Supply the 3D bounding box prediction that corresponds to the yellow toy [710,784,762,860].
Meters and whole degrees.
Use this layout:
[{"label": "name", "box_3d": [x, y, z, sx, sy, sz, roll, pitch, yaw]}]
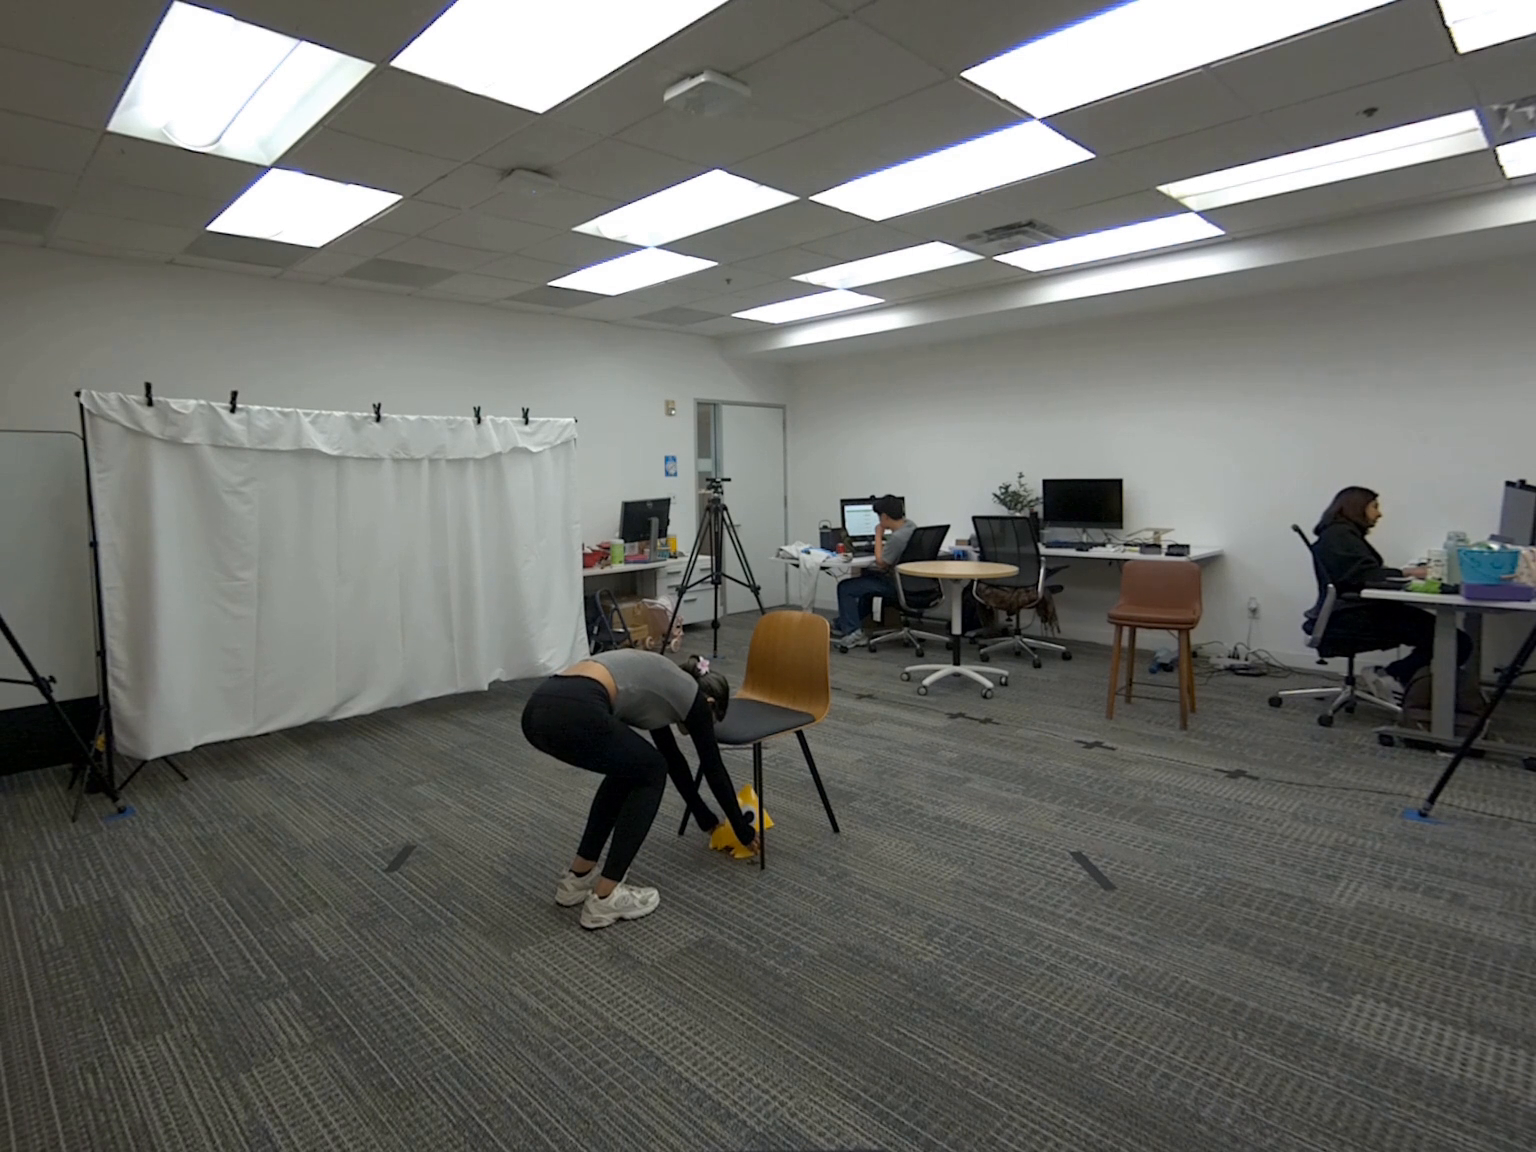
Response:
[{"label": "yellow toy", "box_3d": [-0.109, 0.914, 3.245, 0.211, 0.230, 0.188, 4, 5, 41]}]
